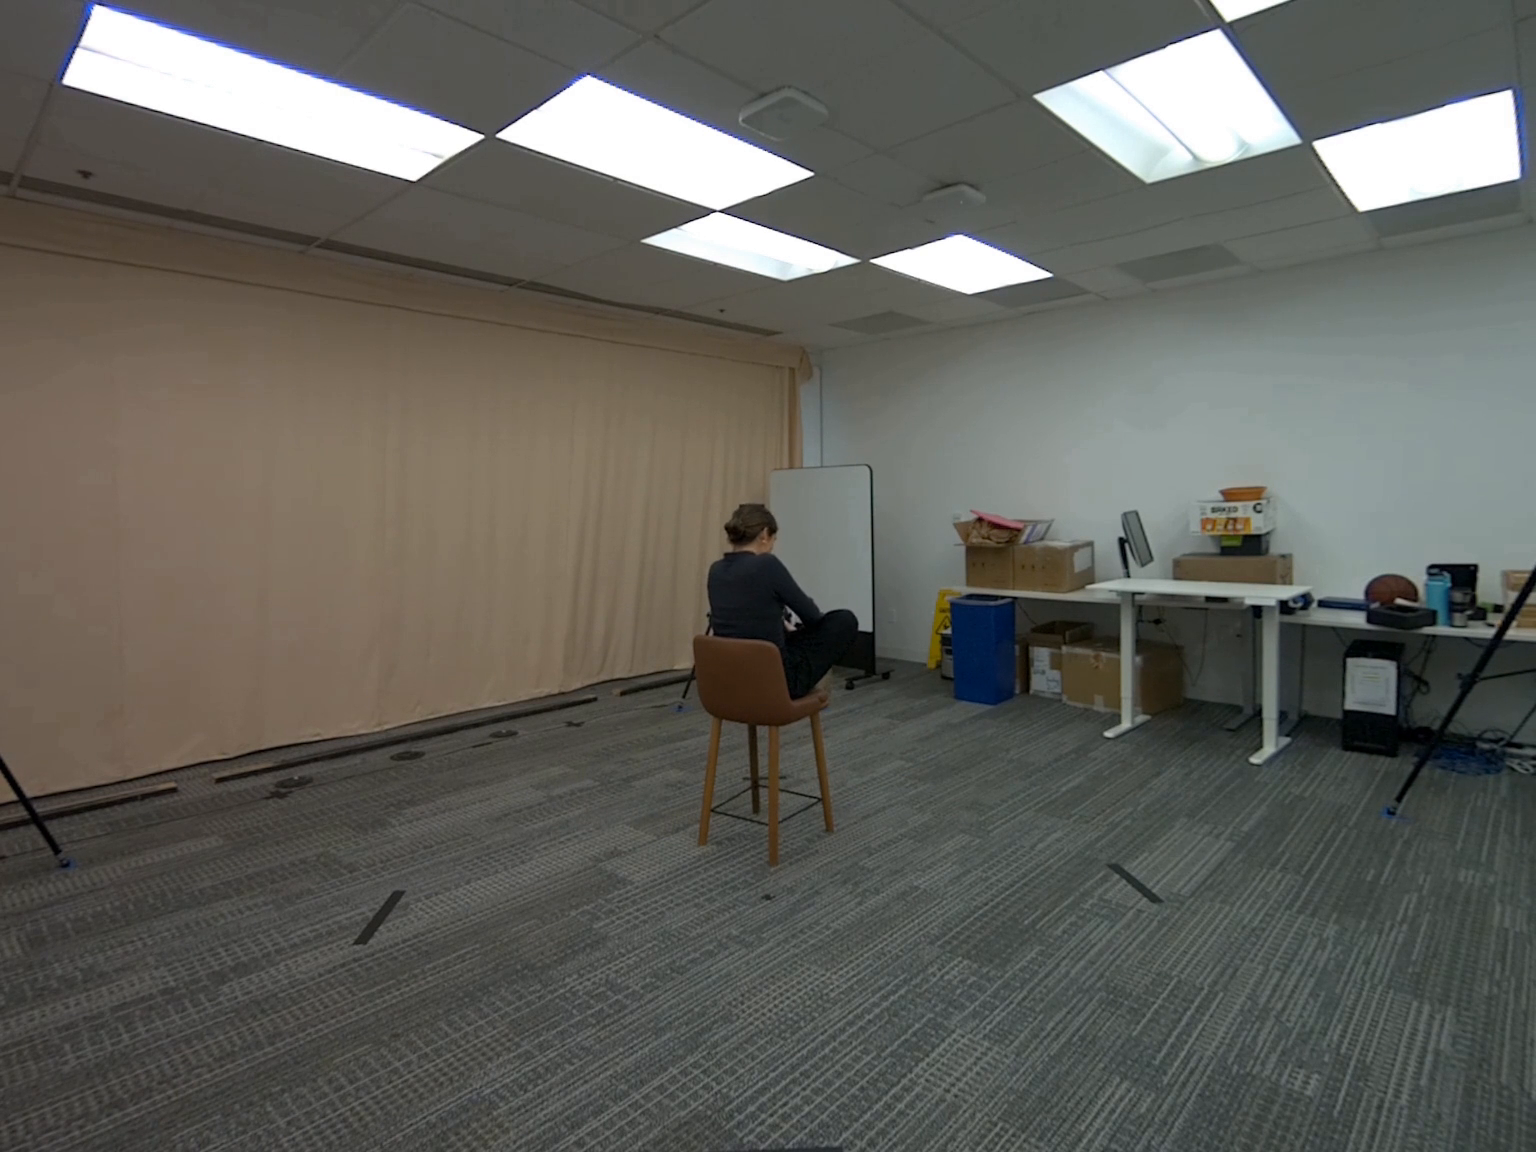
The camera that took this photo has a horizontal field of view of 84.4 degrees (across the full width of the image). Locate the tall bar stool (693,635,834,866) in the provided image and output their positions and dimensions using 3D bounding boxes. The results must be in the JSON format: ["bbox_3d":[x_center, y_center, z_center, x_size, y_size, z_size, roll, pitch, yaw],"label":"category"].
[{"bbox_3d":[-0.022,0.662,3.496,0.471,0.887,0.455,1,6,35],"label":"tall bar stool"}]
